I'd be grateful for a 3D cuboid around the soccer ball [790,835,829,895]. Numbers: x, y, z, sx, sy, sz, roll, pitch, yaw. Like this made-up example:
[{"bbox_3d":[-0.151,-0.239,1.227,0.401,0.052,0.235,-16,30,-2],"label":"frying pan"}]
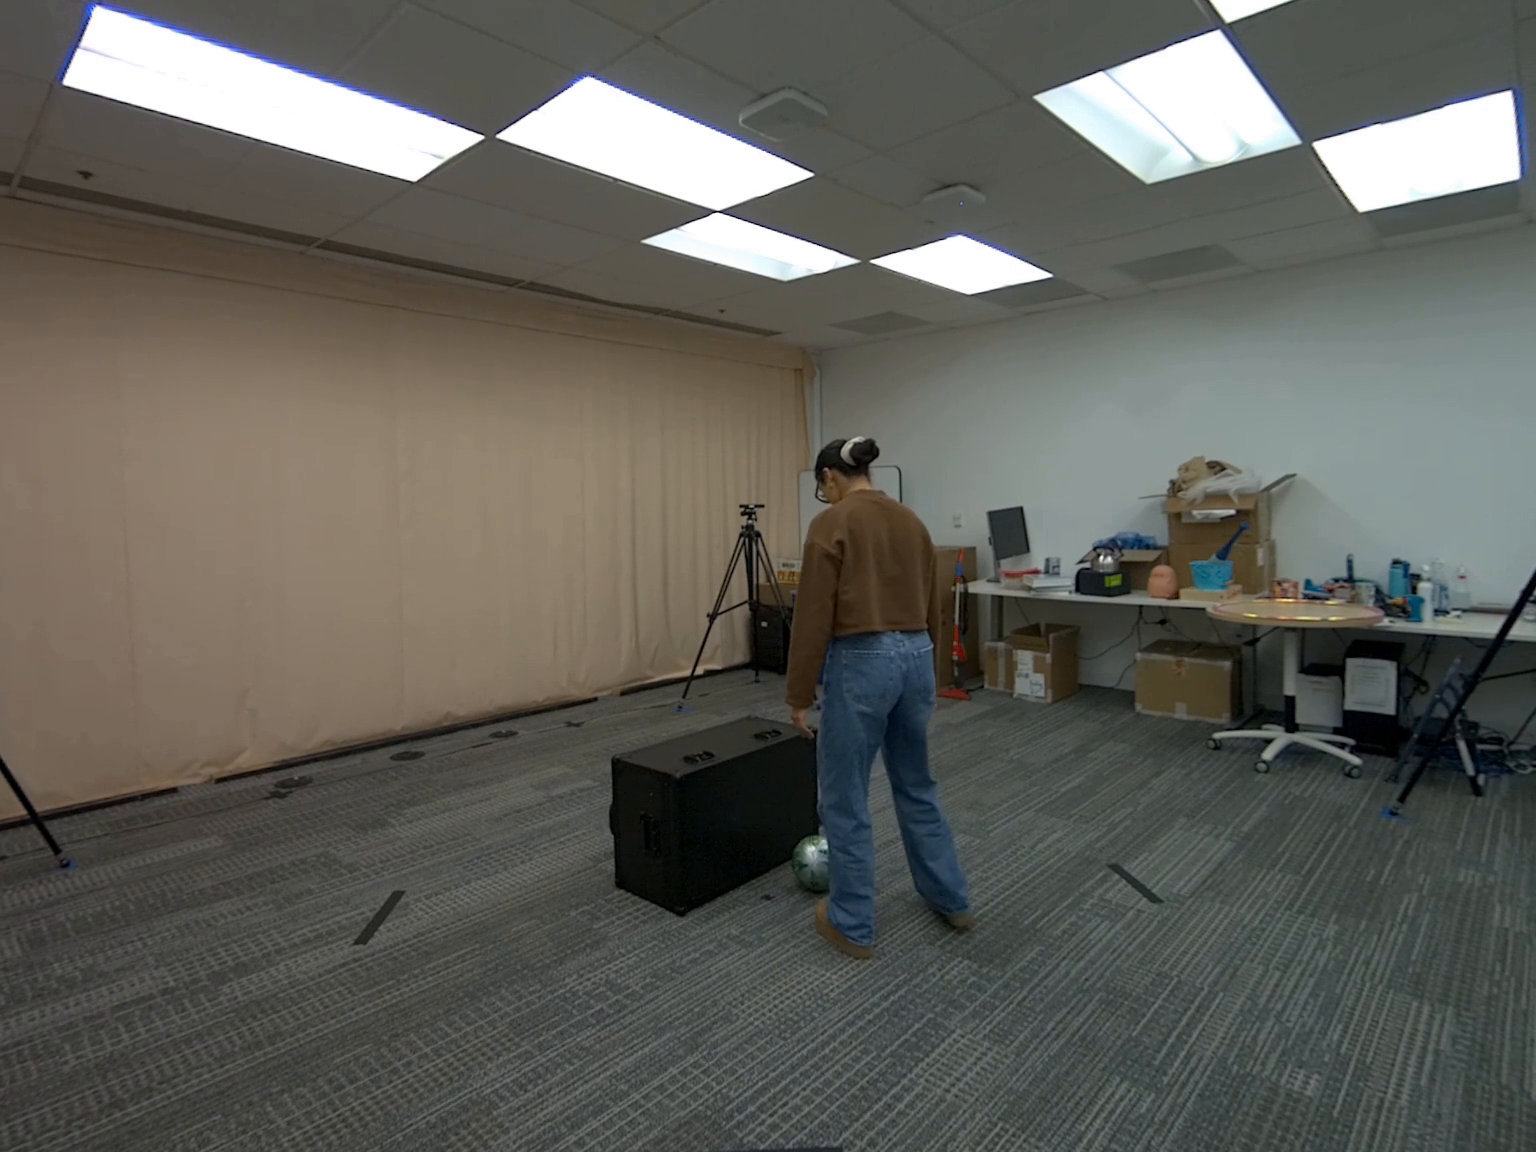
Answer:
[{"bbox_3d":[0.173,1.029,3.046,0.187,0.187,0.188,-1,4,-2],"label":"soccer ball"}]
